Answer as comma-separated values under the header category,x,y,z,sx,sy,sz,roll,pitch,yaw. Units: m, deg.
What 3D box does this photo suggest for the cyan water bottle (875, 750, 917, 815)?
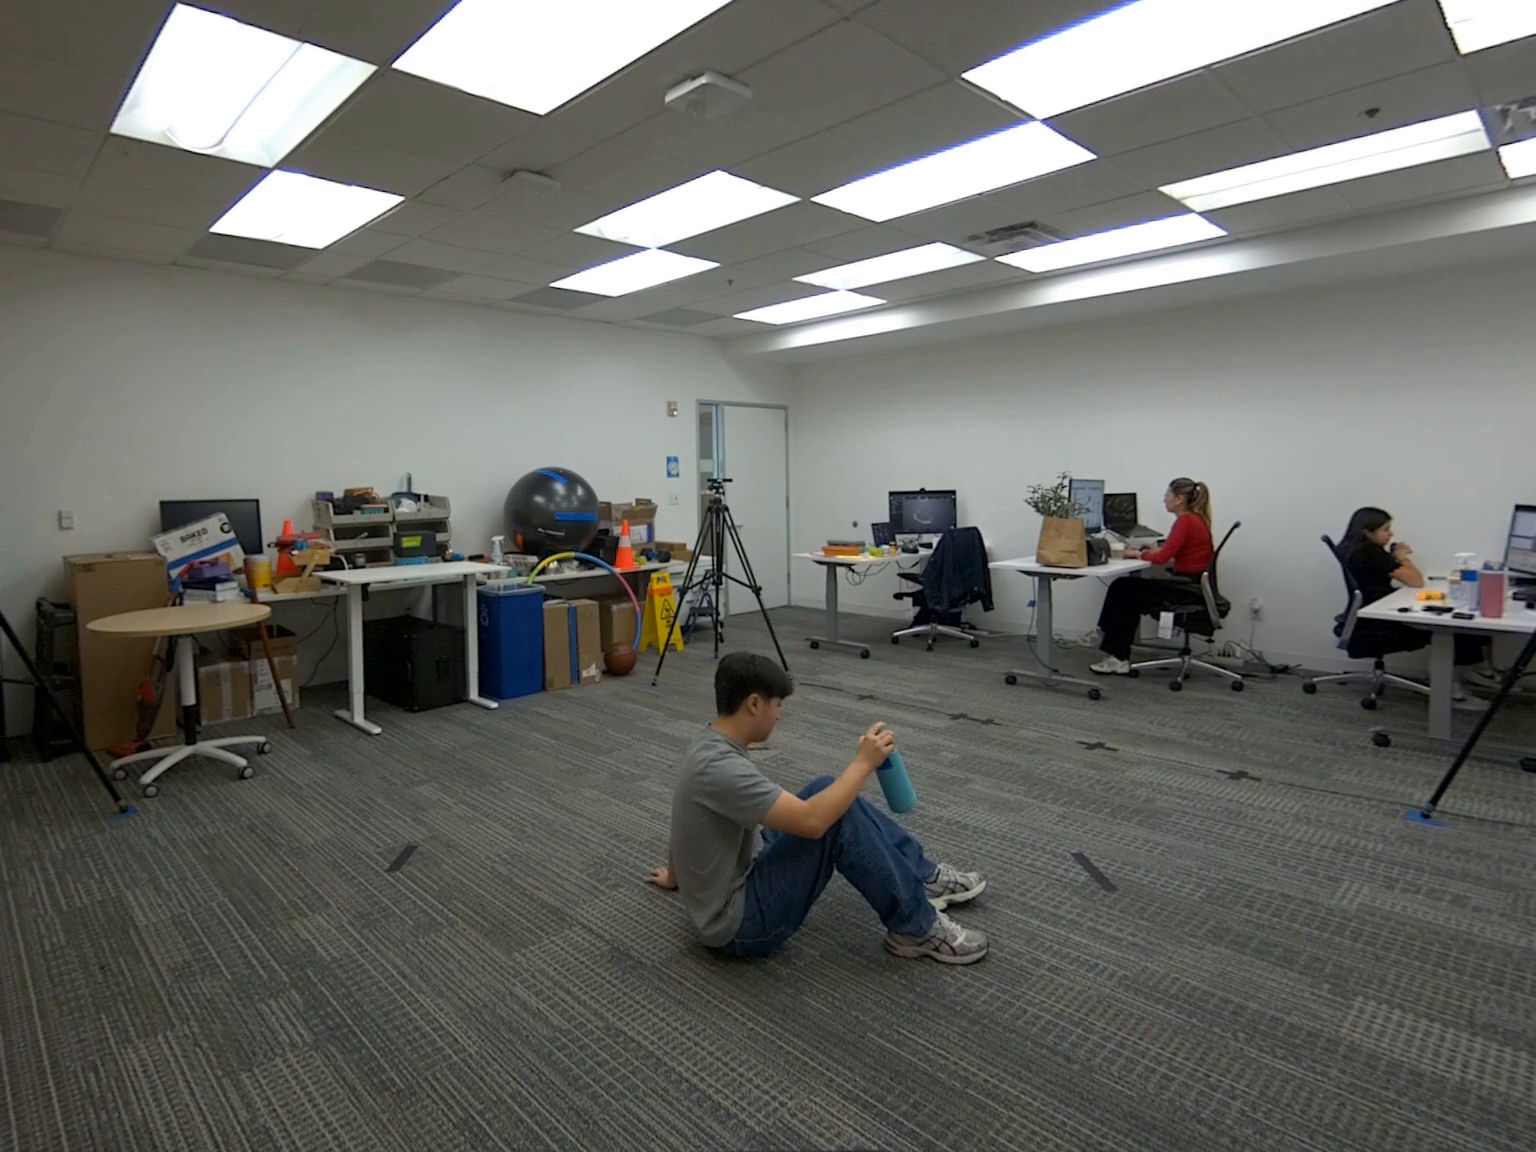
category,x,y,z,sx,sy,sz,roll,pitch,yaw
cyan water bottle,0.369,0.585,2.600,0.092,0.278,0.094,-19,17,5
